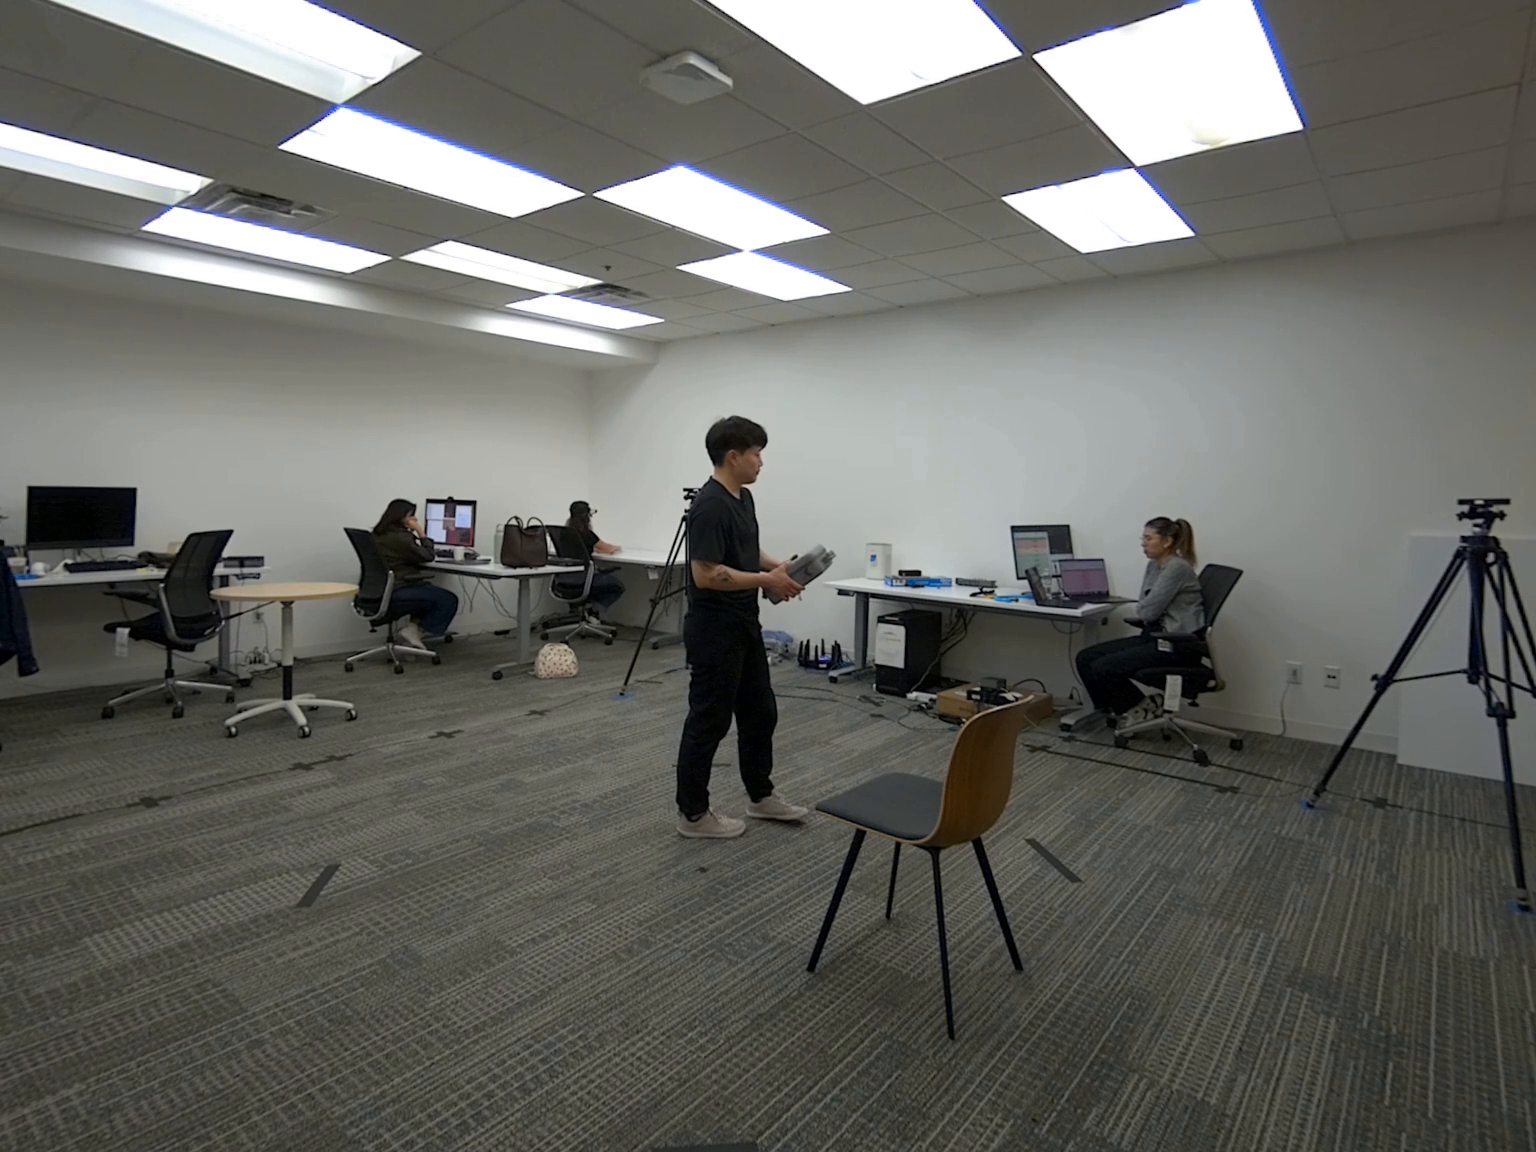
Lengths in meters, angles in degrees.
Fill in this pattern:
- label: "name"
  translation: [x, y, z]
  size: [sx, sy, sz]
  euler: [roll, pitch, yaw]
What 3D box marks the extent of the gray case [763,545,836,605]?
- label: "gray case"
  translation: [0.112, -0.017, 3.353]
  size: [0.262, 0.104, 0.255]
  euler: [-33, 1, 21]
